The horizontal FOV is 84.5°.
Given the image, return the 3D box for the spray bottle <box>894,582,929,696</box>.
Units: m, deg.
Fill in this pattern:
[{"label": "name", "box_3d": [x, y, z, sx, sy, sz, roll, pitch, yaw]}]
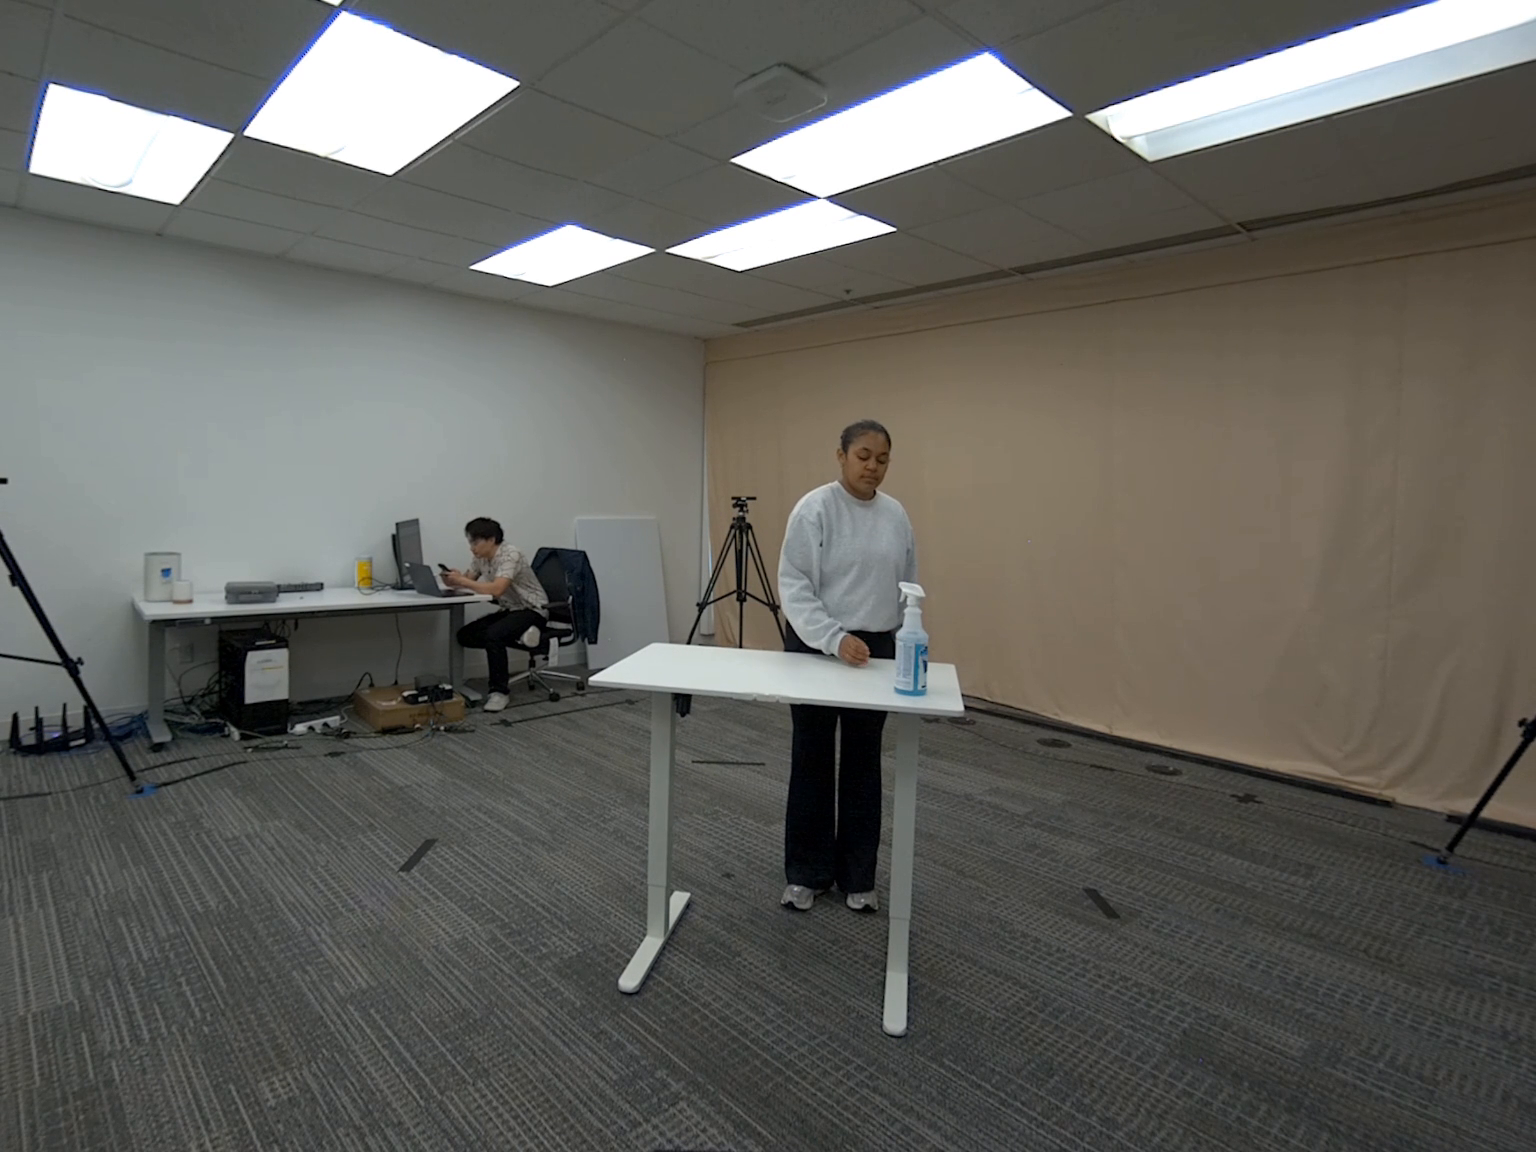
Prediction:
[{"label": "spray bottle", "box_3d": [0.382, 0.172, 2.267, 0.086, 0.297, 0.091, 0, 2, -8]}]
